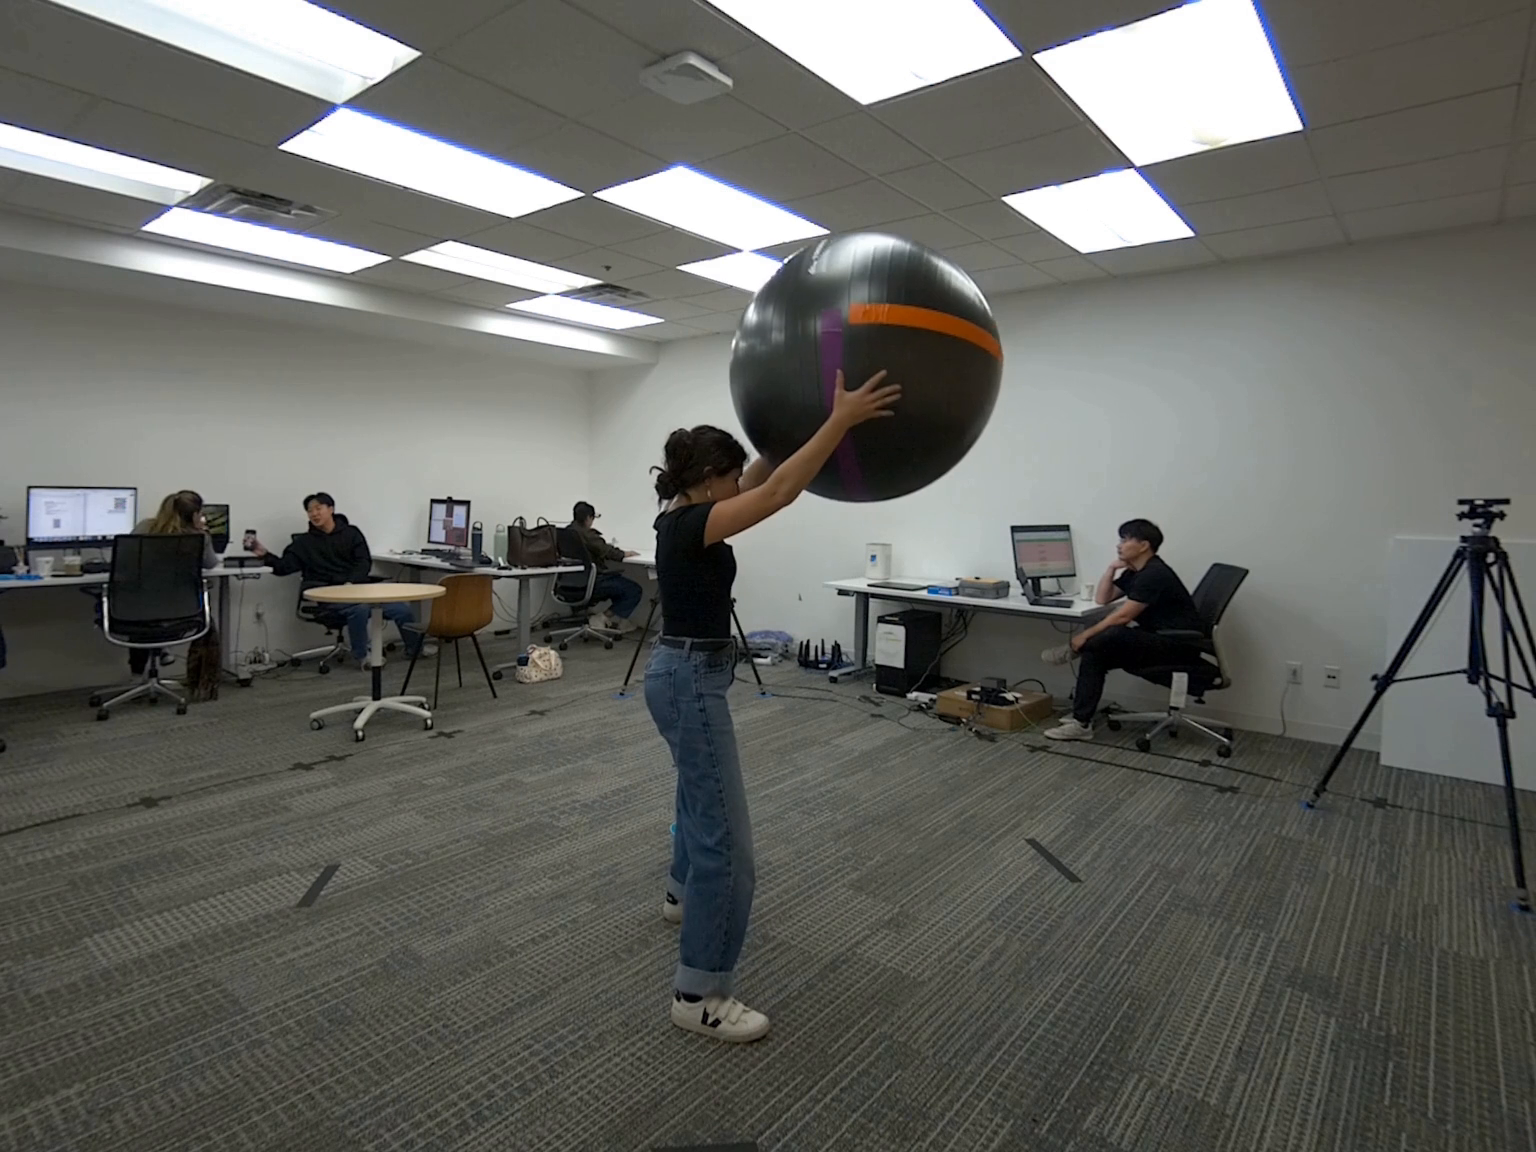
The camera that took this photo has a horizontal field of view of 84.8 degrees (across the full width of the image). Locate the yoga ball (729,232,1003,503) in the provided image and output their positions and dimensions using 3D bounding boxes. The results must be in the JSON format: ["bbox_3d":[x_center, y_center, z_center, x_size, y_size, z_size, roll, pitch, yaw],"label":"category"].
[{"bbox_3d":[0.268,-0.571,2.439,0.757,0.756,0.762,1,4,-2],"label":"yoga ball"}]
